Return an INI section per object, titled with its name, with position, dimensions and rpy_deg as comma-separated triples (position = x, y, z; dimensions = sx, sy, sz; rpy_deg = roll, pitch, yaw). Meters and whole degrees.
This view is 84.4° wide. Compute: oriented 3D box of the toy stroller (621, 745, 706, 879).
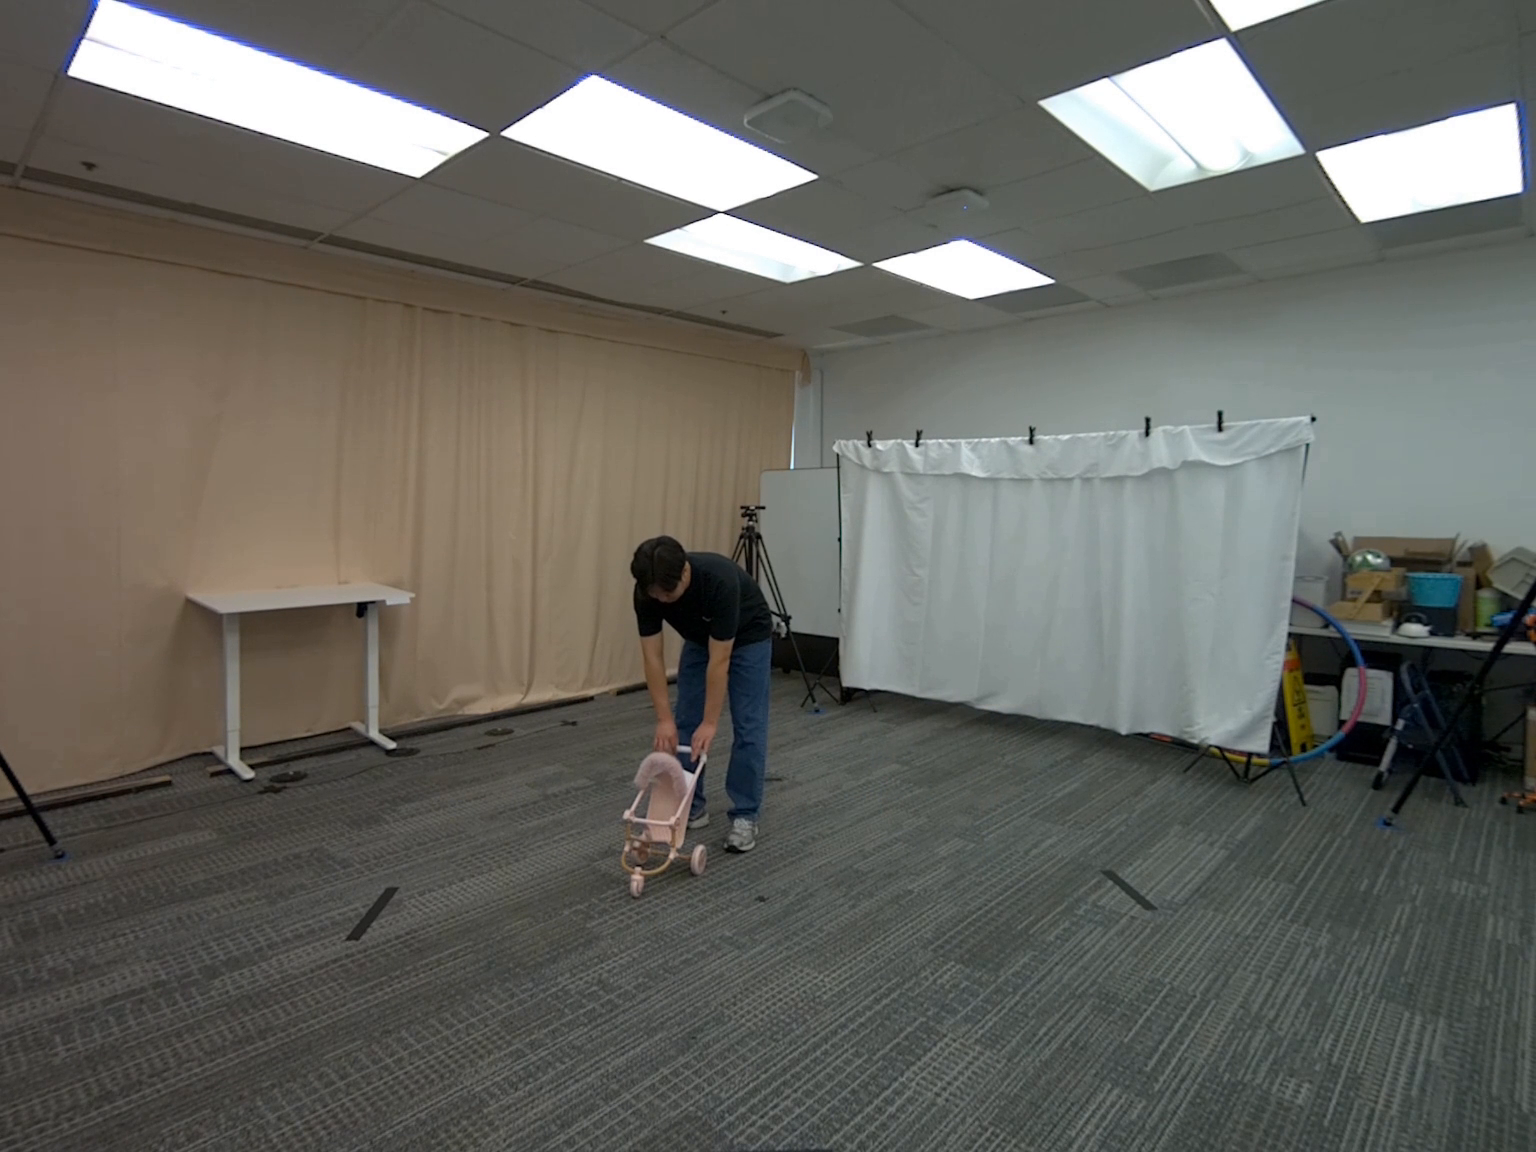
[toy stroller]
position = -0.406, 0.905, 3.171
dimensions = 0.289, 0.538, 0.330
rpy_deg = 0, -12, 27
